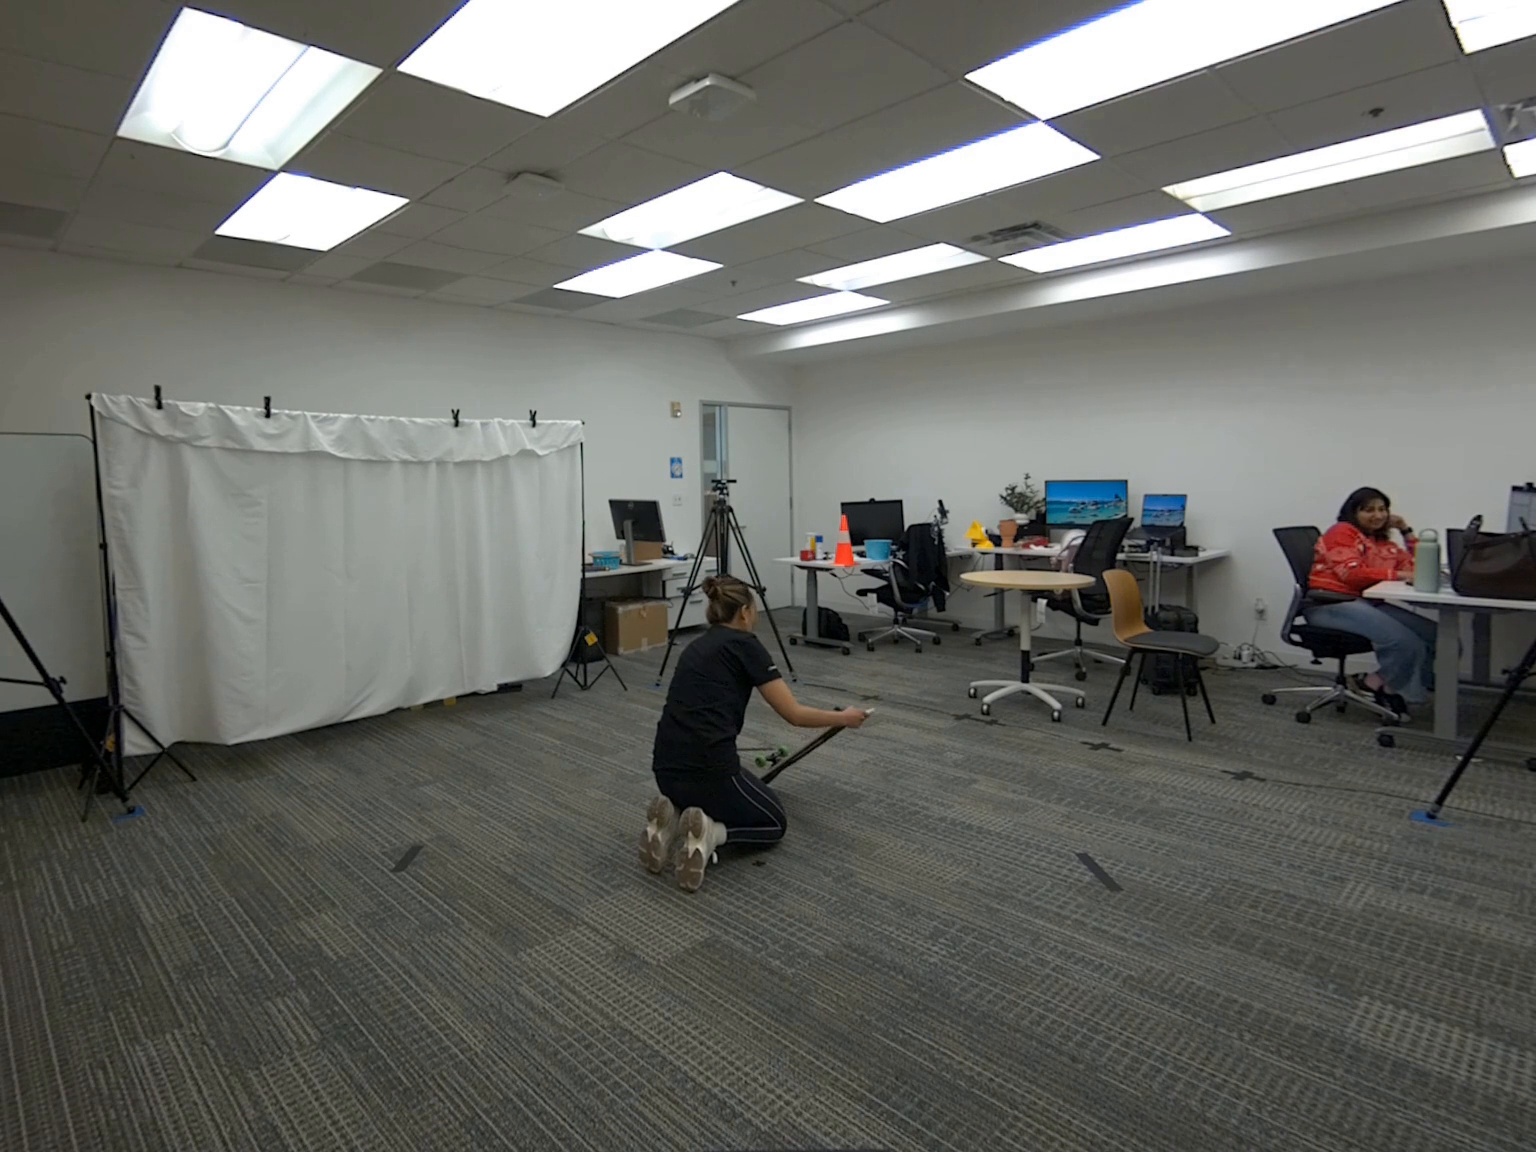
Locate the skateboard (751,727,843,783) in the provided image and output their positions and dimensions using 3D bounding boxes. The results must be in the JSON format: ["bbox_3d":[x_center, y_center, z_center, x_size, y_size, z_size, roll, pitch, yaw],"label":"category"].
[{"bbox_3d":[0.153,0.711,3.619,0.189,0.113,0.787,-9,-26,-49],"label":"skateboard"}]
